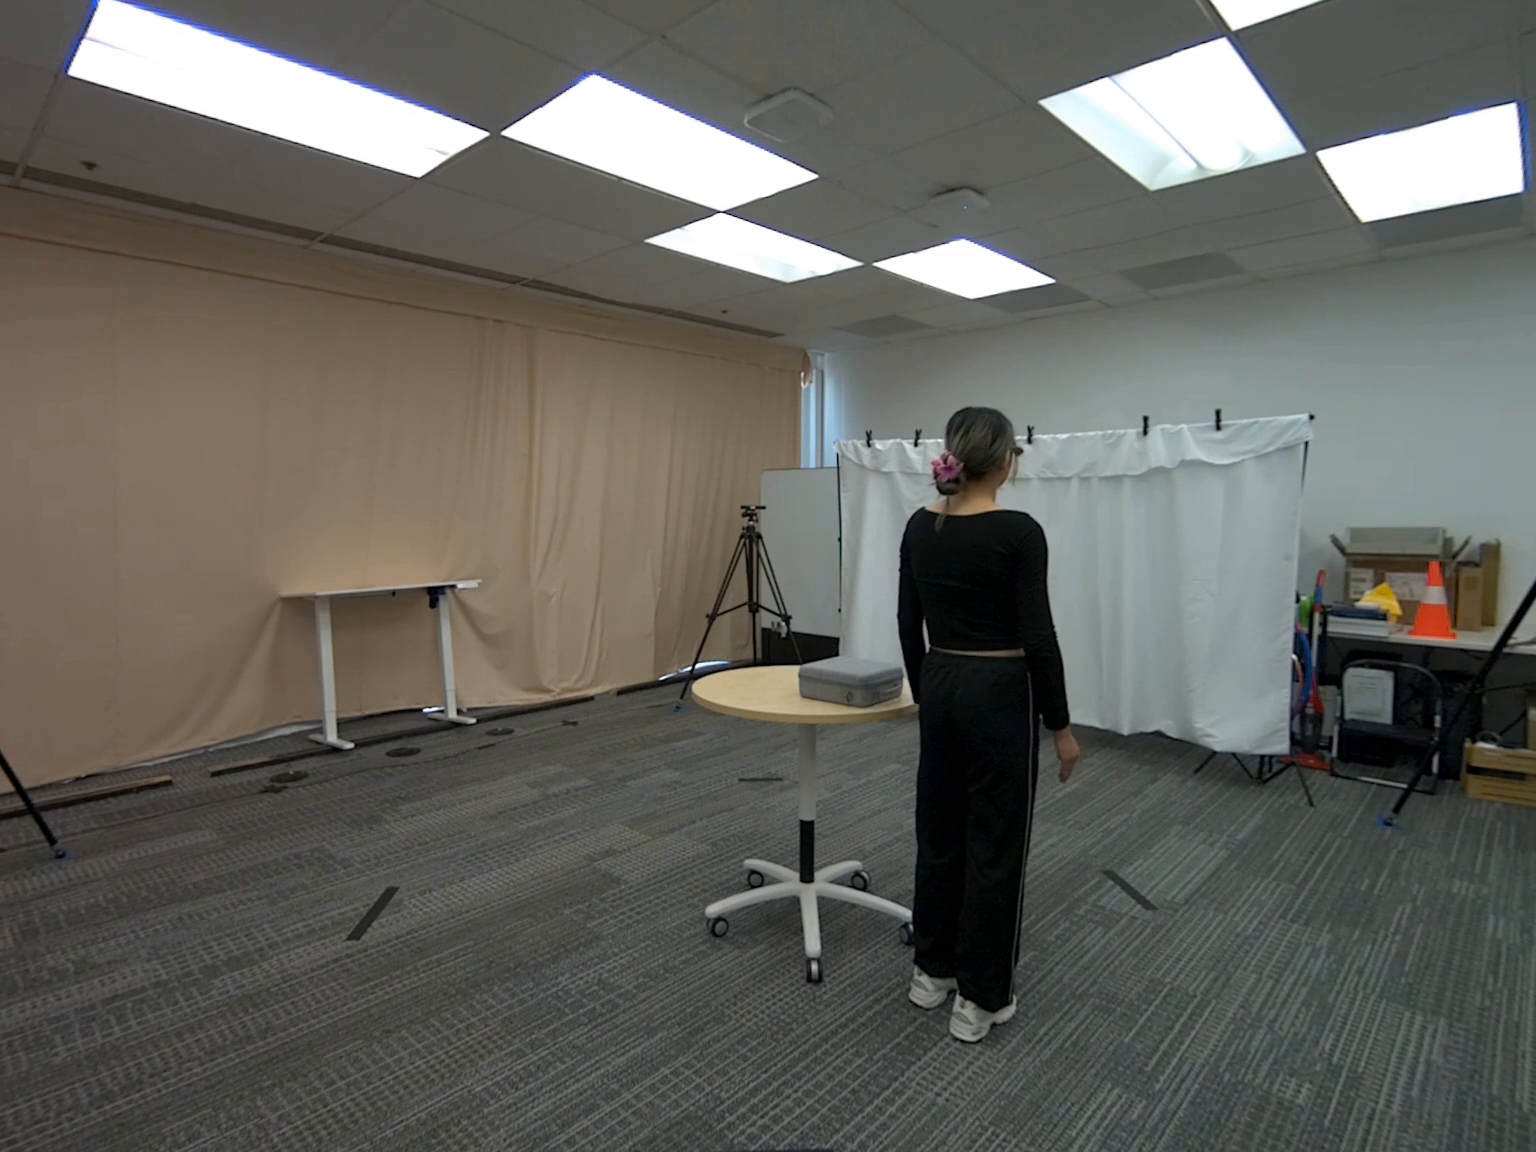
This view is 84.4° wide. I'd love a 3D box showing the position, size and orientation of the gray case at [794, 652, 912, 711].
[{"bbox_3d":[0.265,0.320,2.631,0.269,0.104,0.249,6,5,41],"label":"gray case"}]
